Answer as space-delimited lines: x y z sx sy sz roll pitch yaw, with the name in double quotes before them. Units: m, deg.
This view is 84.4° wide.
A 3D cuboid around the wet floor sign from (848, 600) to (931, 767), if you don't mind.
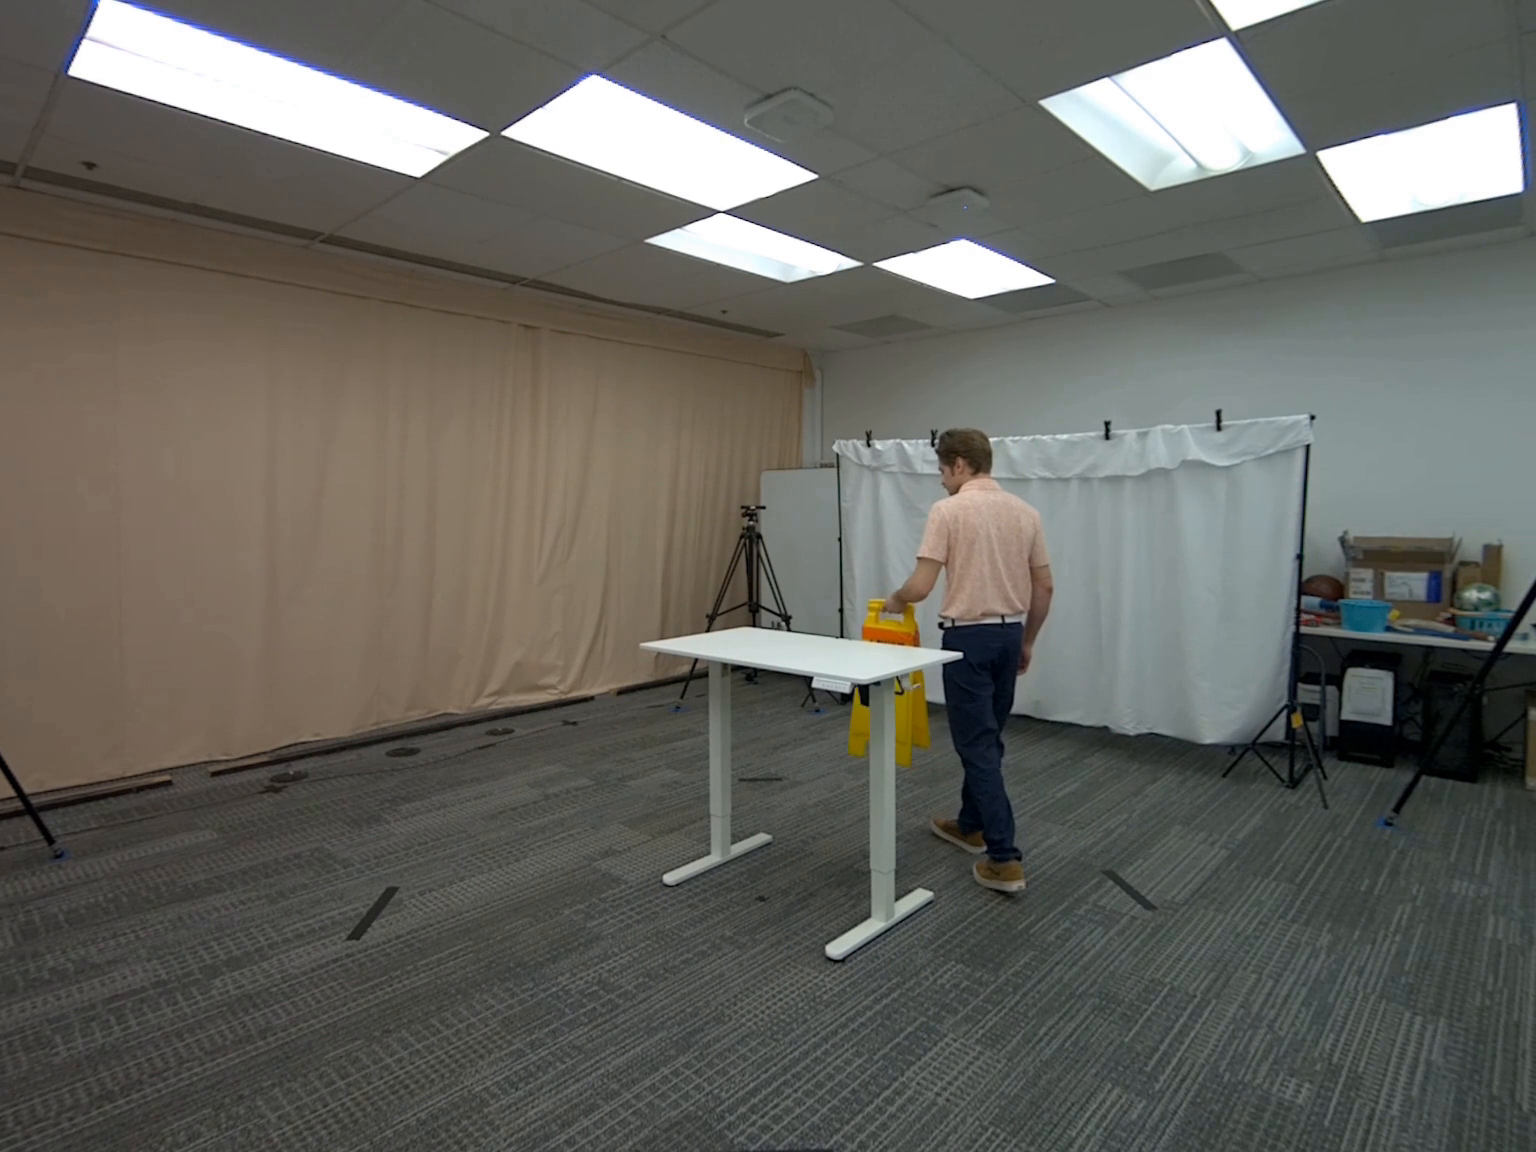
"wet floor sign" 0.518 0.425 3.552 0.291 0.644 0.282 5 7 31
